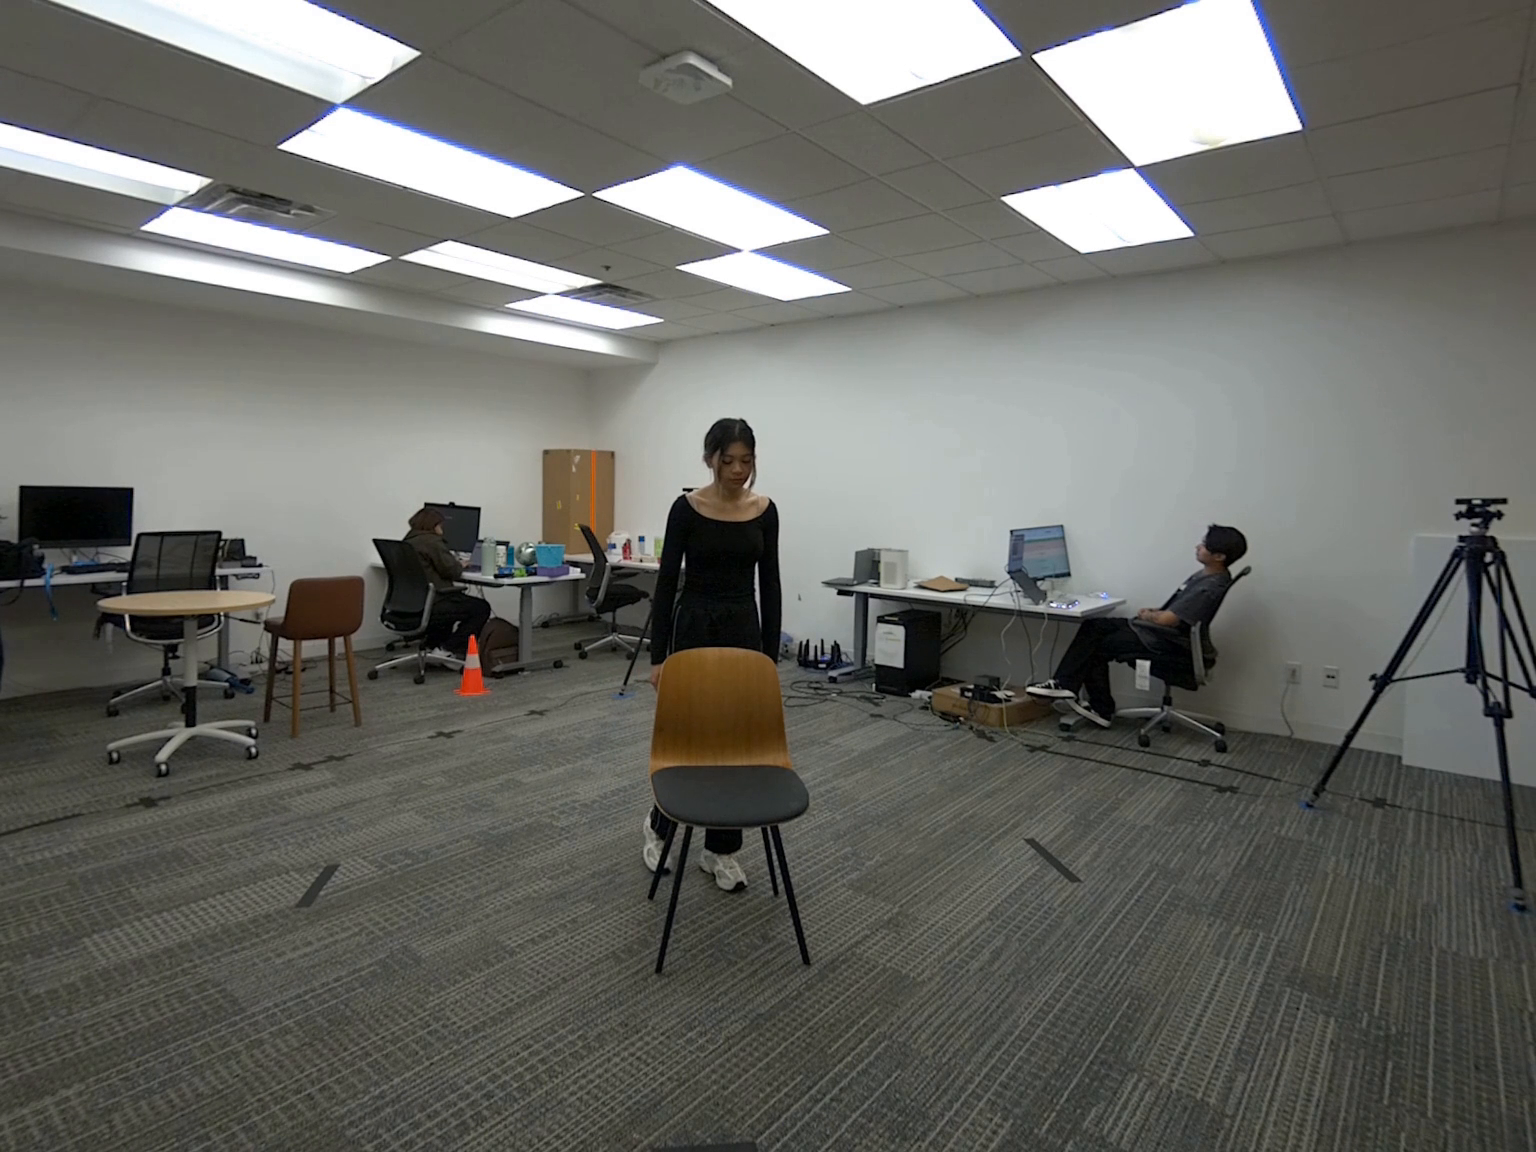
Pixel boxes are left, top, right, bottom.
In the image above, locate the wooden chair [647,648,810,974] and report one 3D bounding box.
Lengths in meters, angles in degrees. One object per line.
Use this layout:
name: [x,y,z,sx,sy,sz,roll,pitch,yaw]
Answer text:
wooden chair: [-0.129,0.688,2.646,0.473,0.878,0.528,1,-1,-10]
